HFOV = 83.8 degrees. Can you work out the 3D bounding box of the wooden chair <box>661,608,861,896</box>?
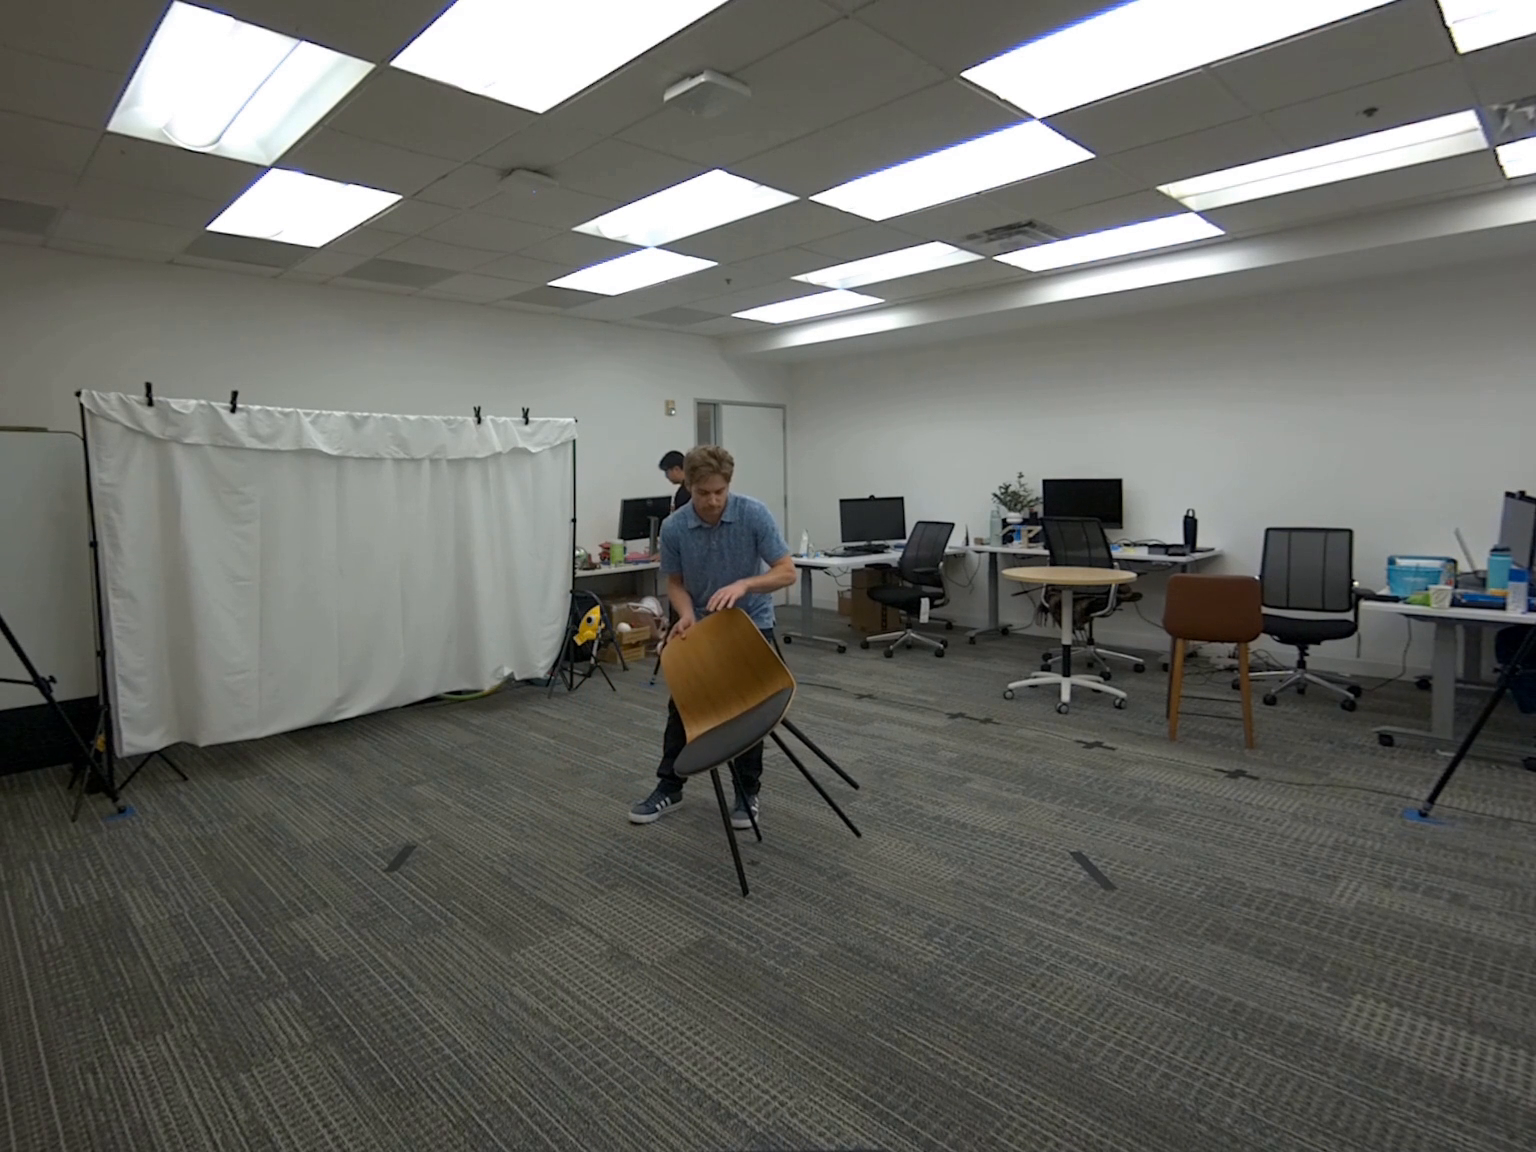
[{"bbox_3d":[-0.083,0.578,3.036,0.480,0.883,0.518,-31,-5,9],"label":"wooden chair"}]
